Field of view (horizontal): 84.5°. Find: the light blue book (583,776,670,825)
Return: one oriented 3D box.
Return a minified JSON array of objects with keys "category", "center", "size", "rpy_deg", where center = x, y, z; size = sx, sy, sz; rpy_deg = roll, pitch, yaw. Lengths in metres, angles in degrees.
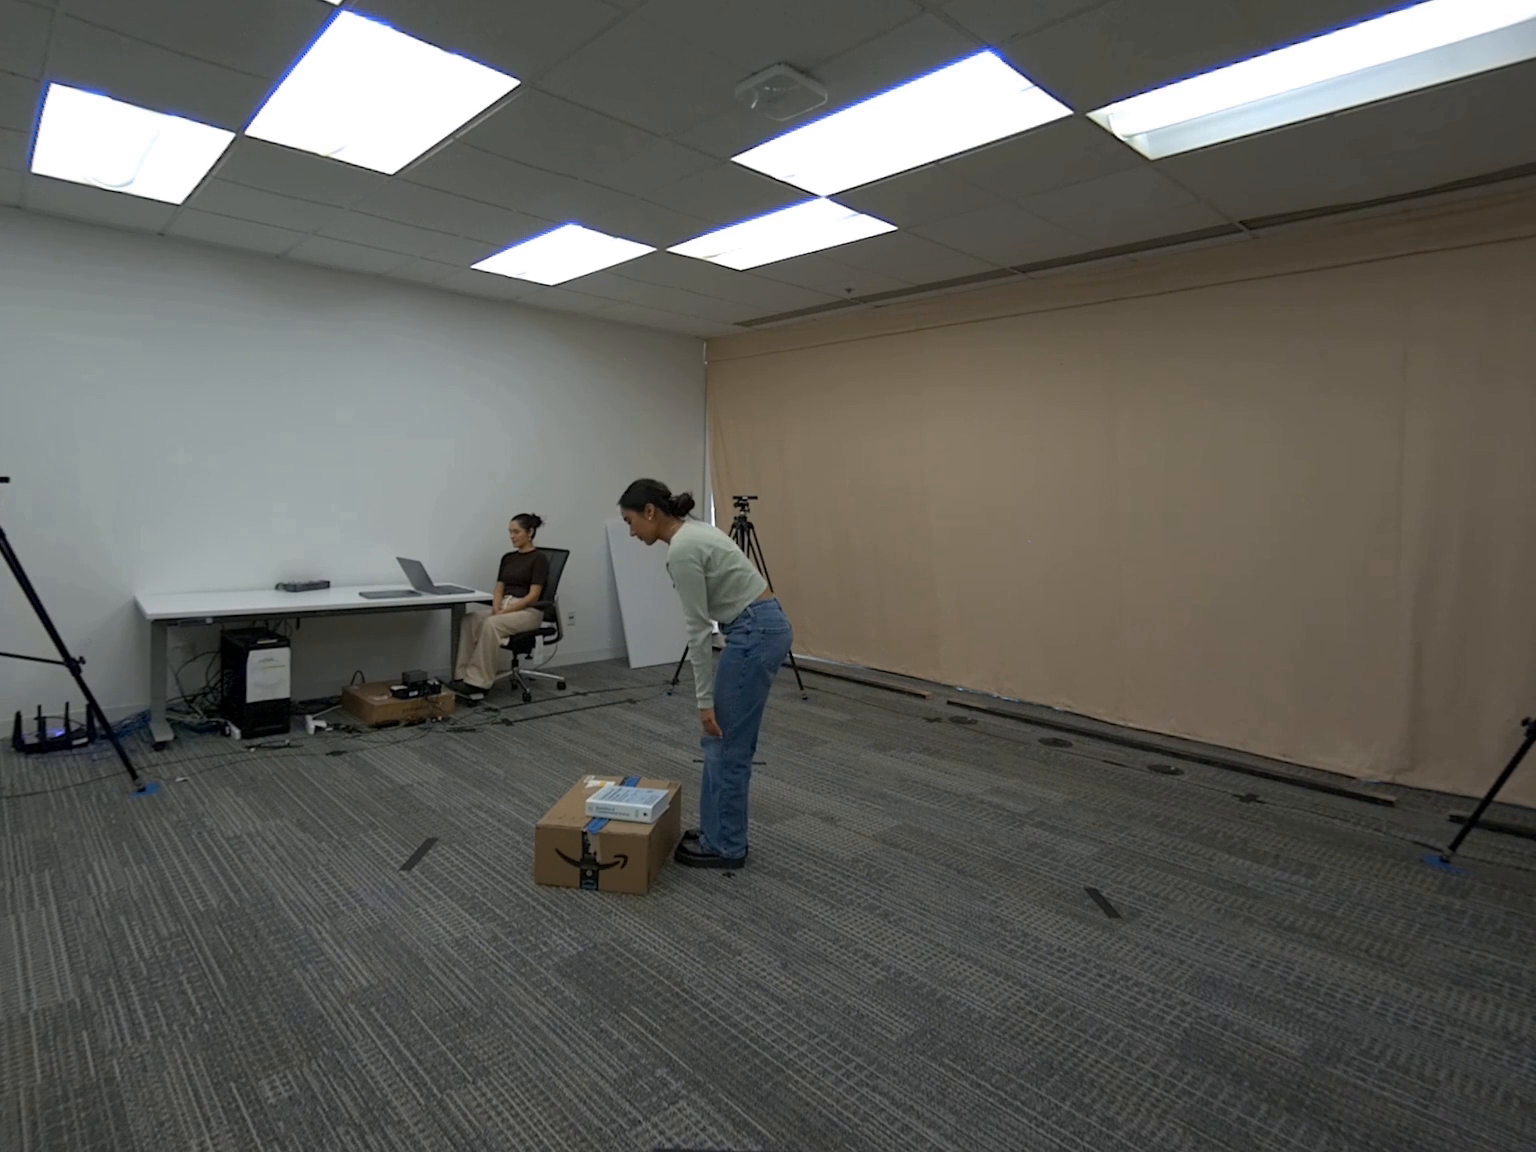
[{"category":"light blue book","center":[-0.524,0.846,3.144],"size":[0.264,0.059,0.189],"rpy_deg":[1,4,15]}]
